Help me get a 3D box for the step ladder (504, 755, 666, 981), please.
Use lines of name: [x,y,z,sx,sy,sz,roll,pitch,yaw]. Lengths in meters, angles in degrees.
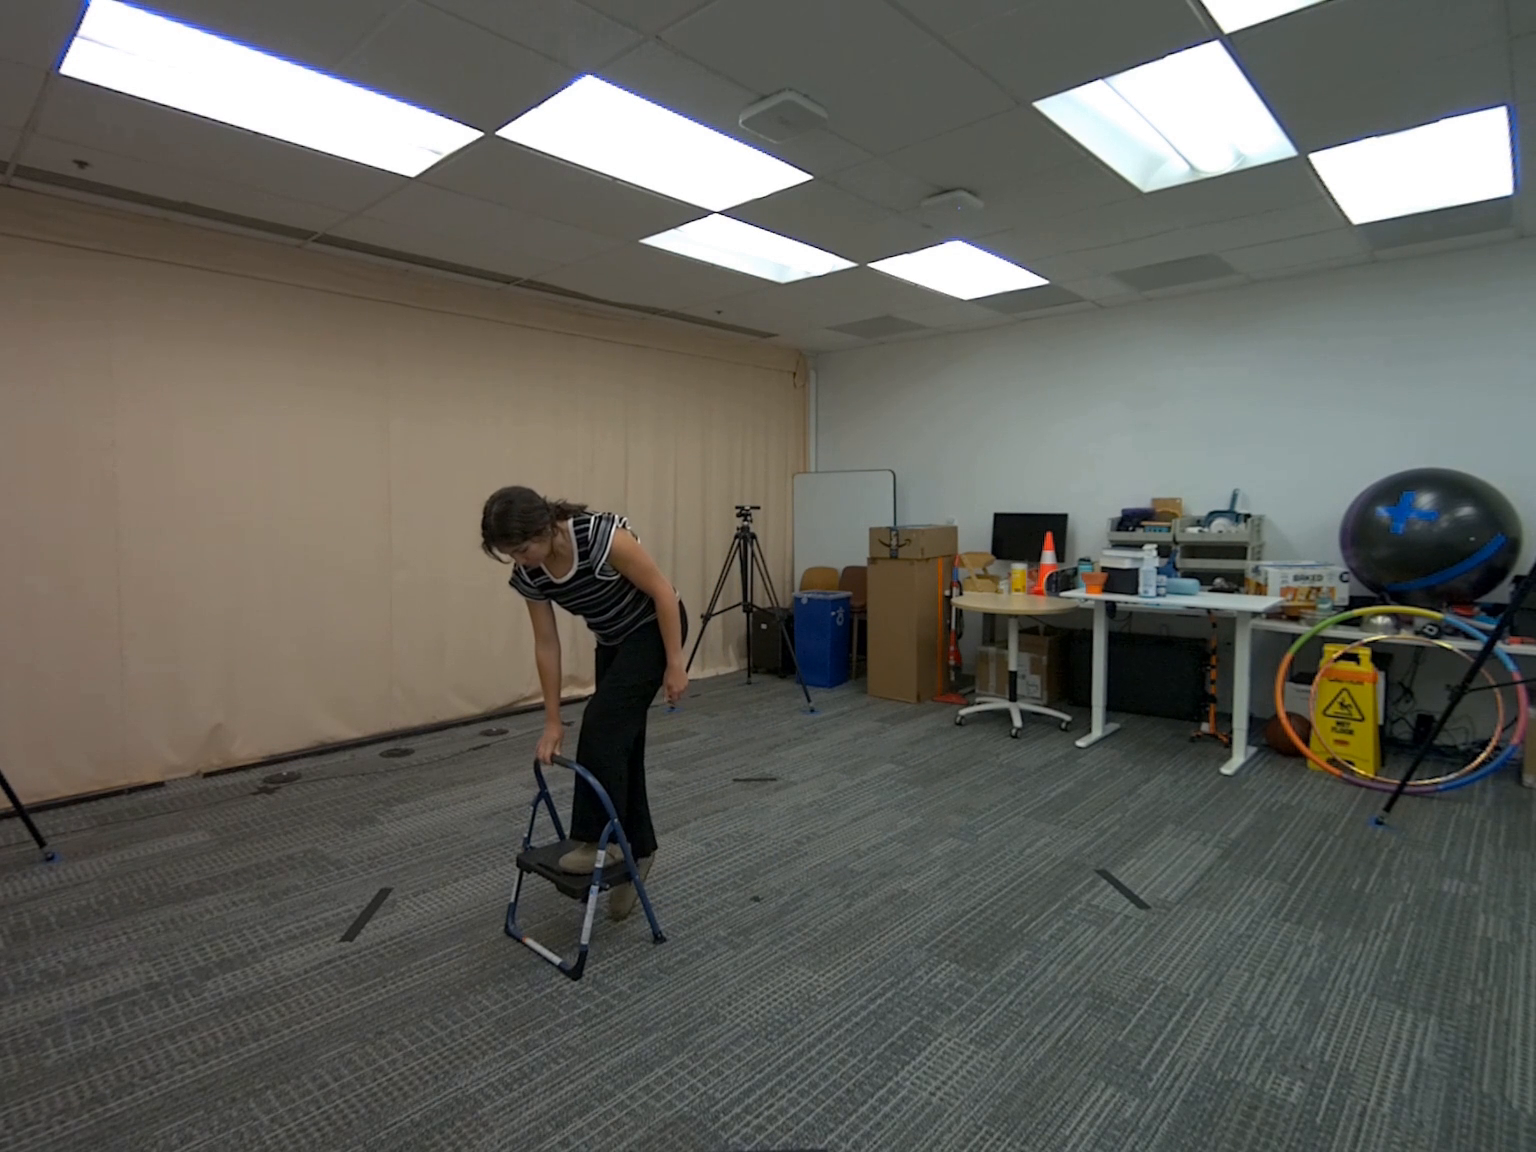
step ladder: [-0.605,0.873,2.717,0.445,0.605,0.338,1,3,43]
